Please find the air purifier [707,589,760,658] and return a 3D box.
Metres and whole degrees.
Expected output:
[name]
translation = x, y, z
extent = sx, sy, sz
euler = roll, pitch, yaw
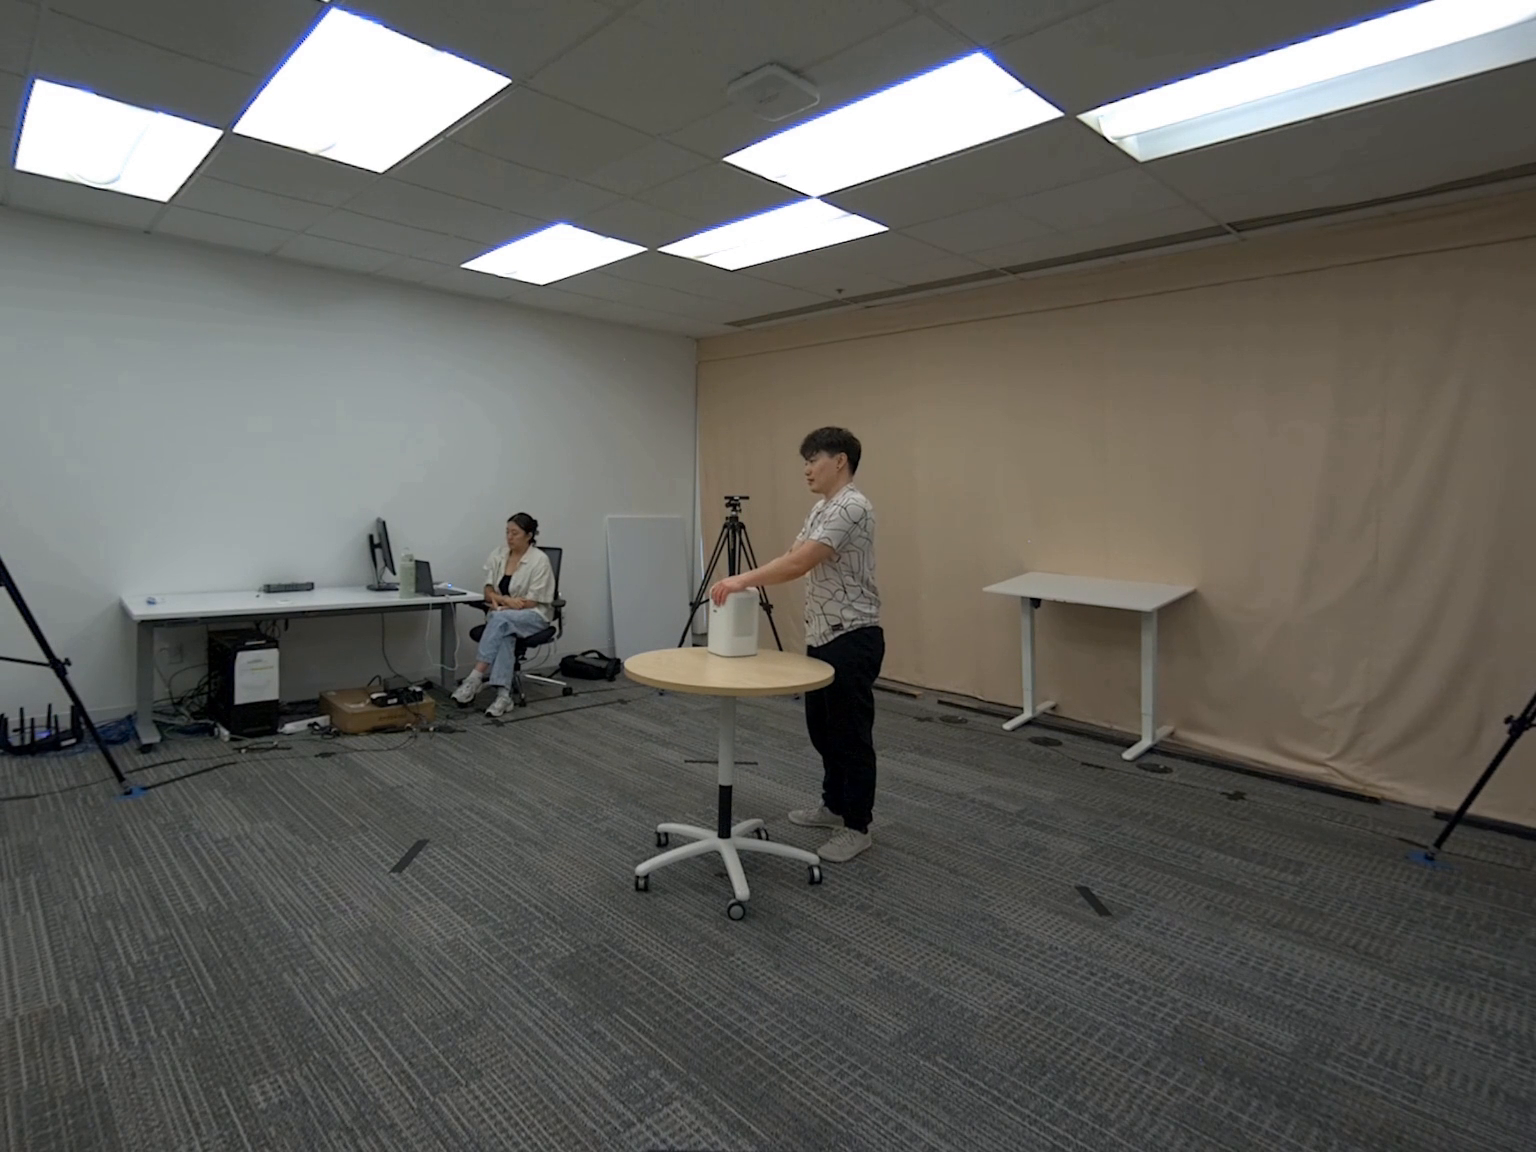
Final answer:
[air purifier]
translation = -0.136, 0.172, 3.317
extent = 0.168, 0.265, 0.175
euler = 0, 3, -32
